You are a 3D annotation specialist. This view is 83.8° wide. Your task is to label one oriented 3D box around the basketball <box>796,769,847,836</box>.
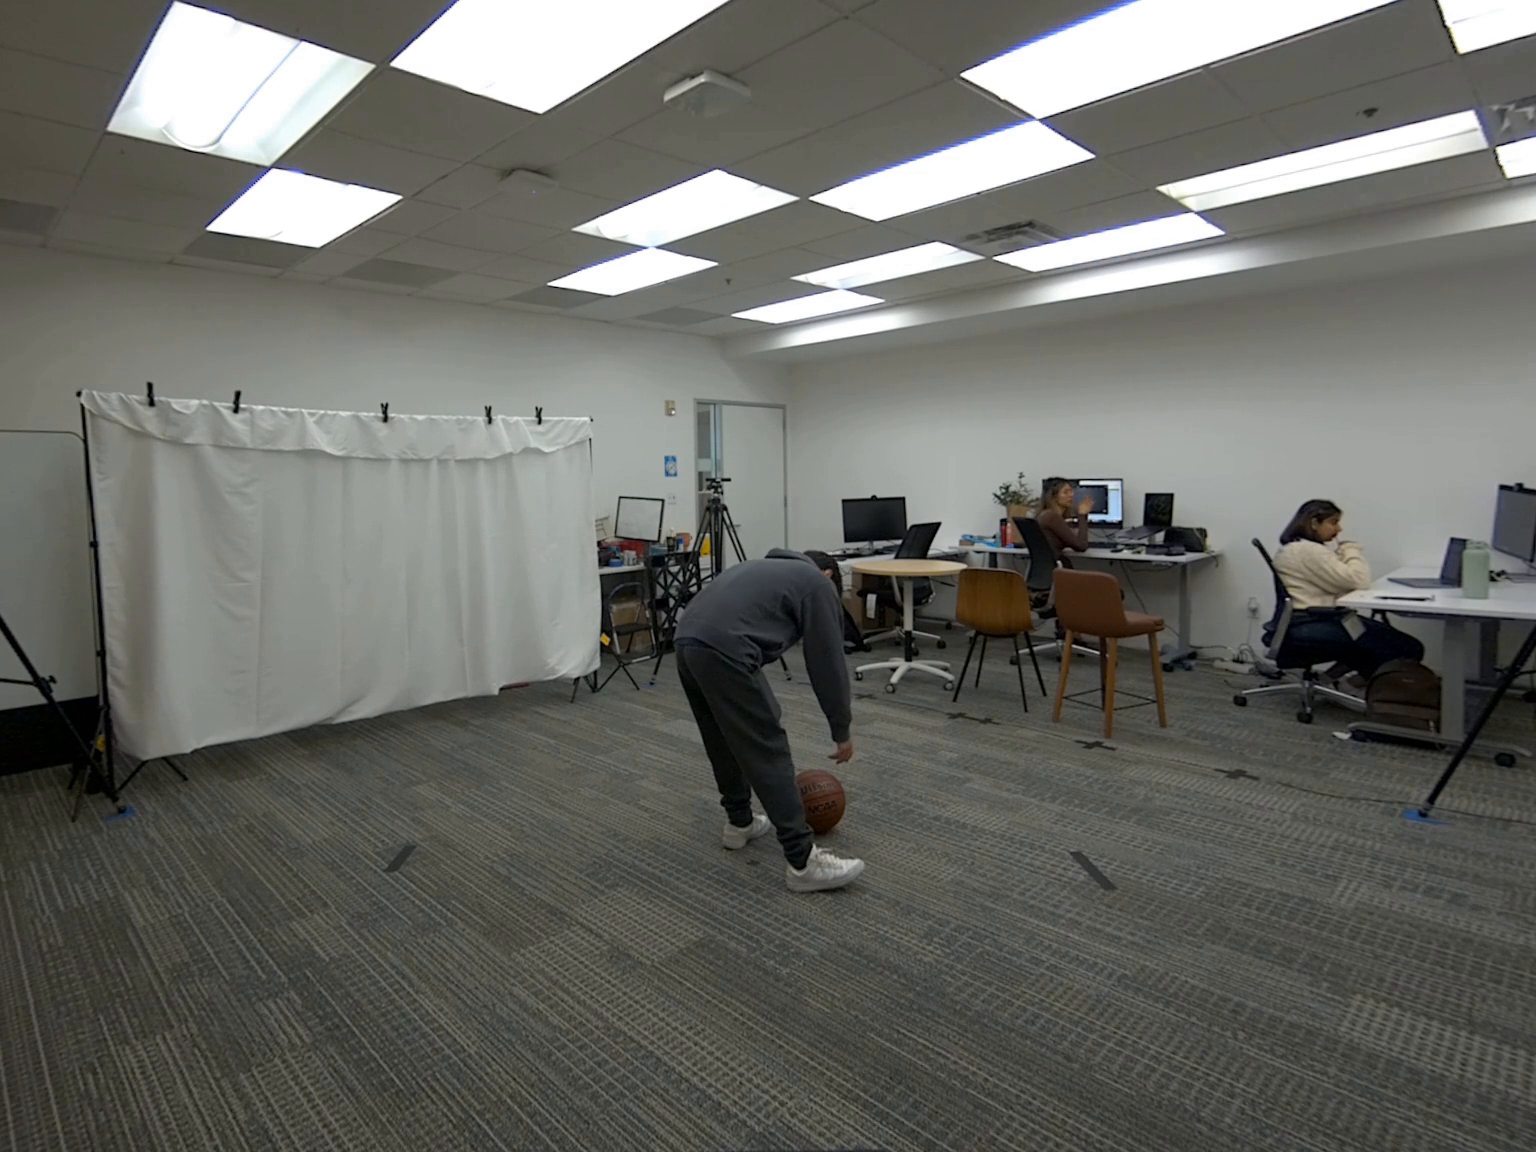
[{"bbox_3d":[0.186,0.884,3.381,0.236,0.235,0.237,-1,5,-2],"label":"basketball"}]
